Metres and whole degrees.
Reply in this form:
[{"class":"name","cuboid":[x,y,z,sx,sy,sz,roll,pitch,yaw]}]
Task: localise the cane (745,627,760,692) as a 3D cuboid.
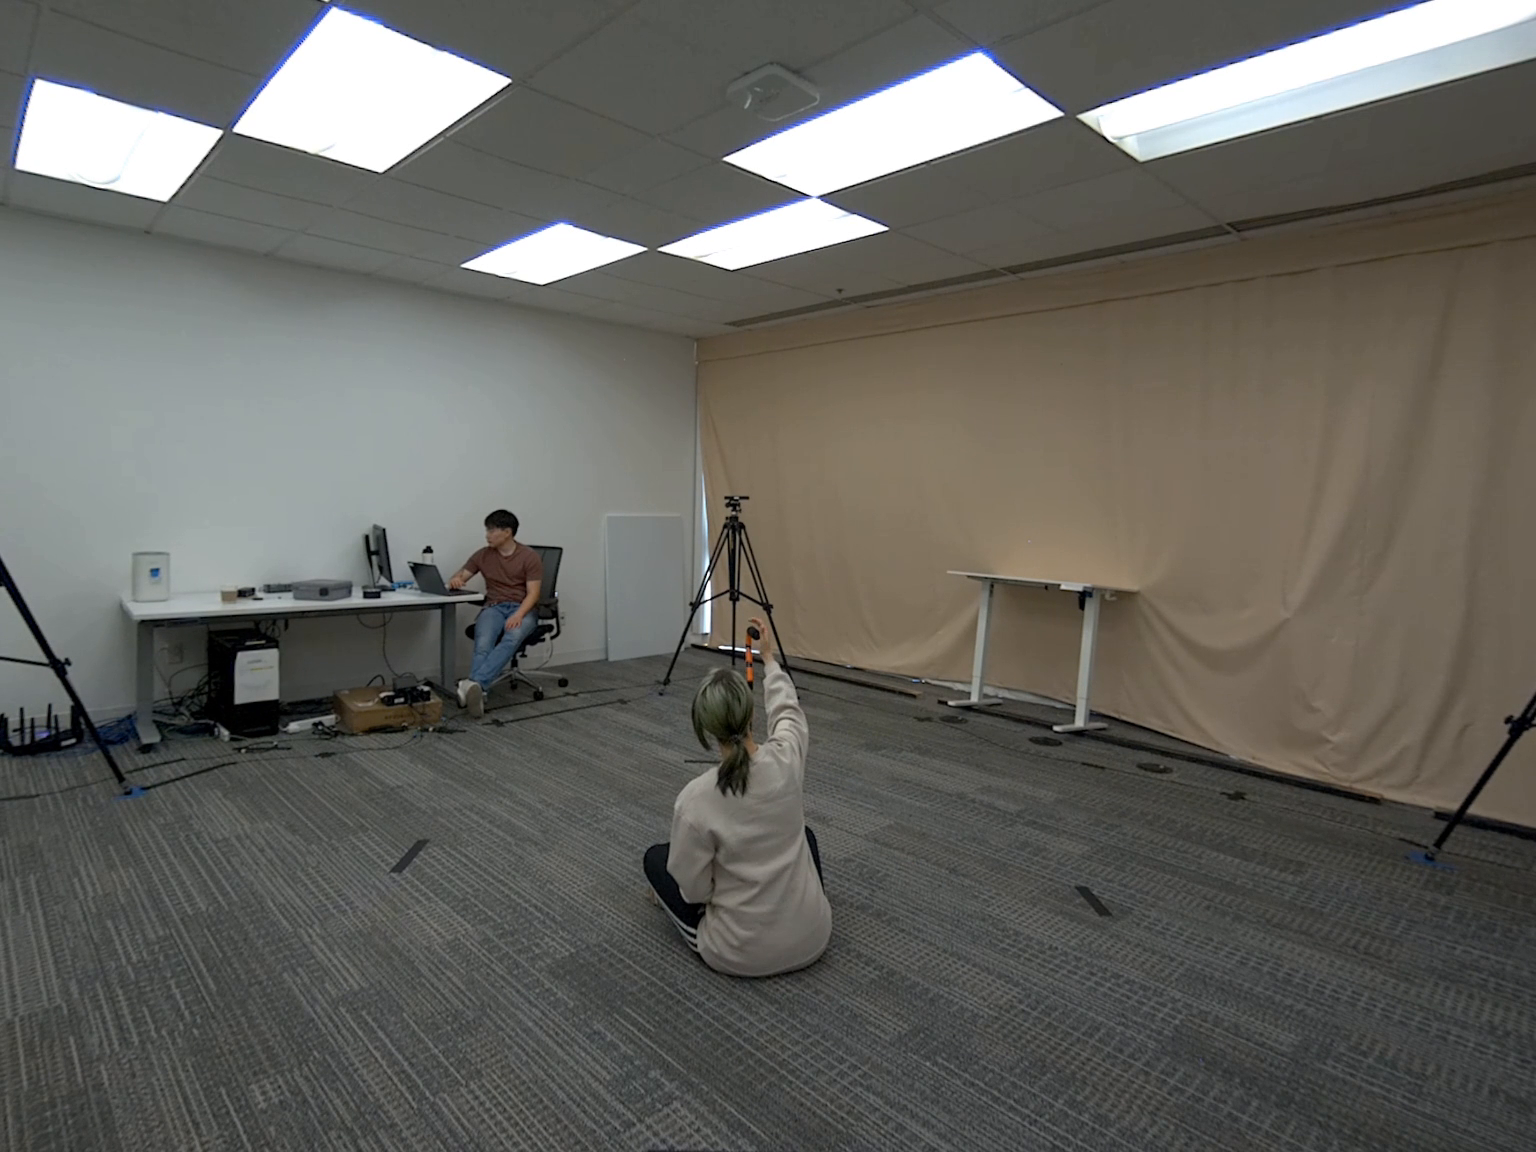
[{"class":"cane","cuboid":[-0.061,0.653,3.151,0.150,0.906,0.208,3,3,-9]}]
